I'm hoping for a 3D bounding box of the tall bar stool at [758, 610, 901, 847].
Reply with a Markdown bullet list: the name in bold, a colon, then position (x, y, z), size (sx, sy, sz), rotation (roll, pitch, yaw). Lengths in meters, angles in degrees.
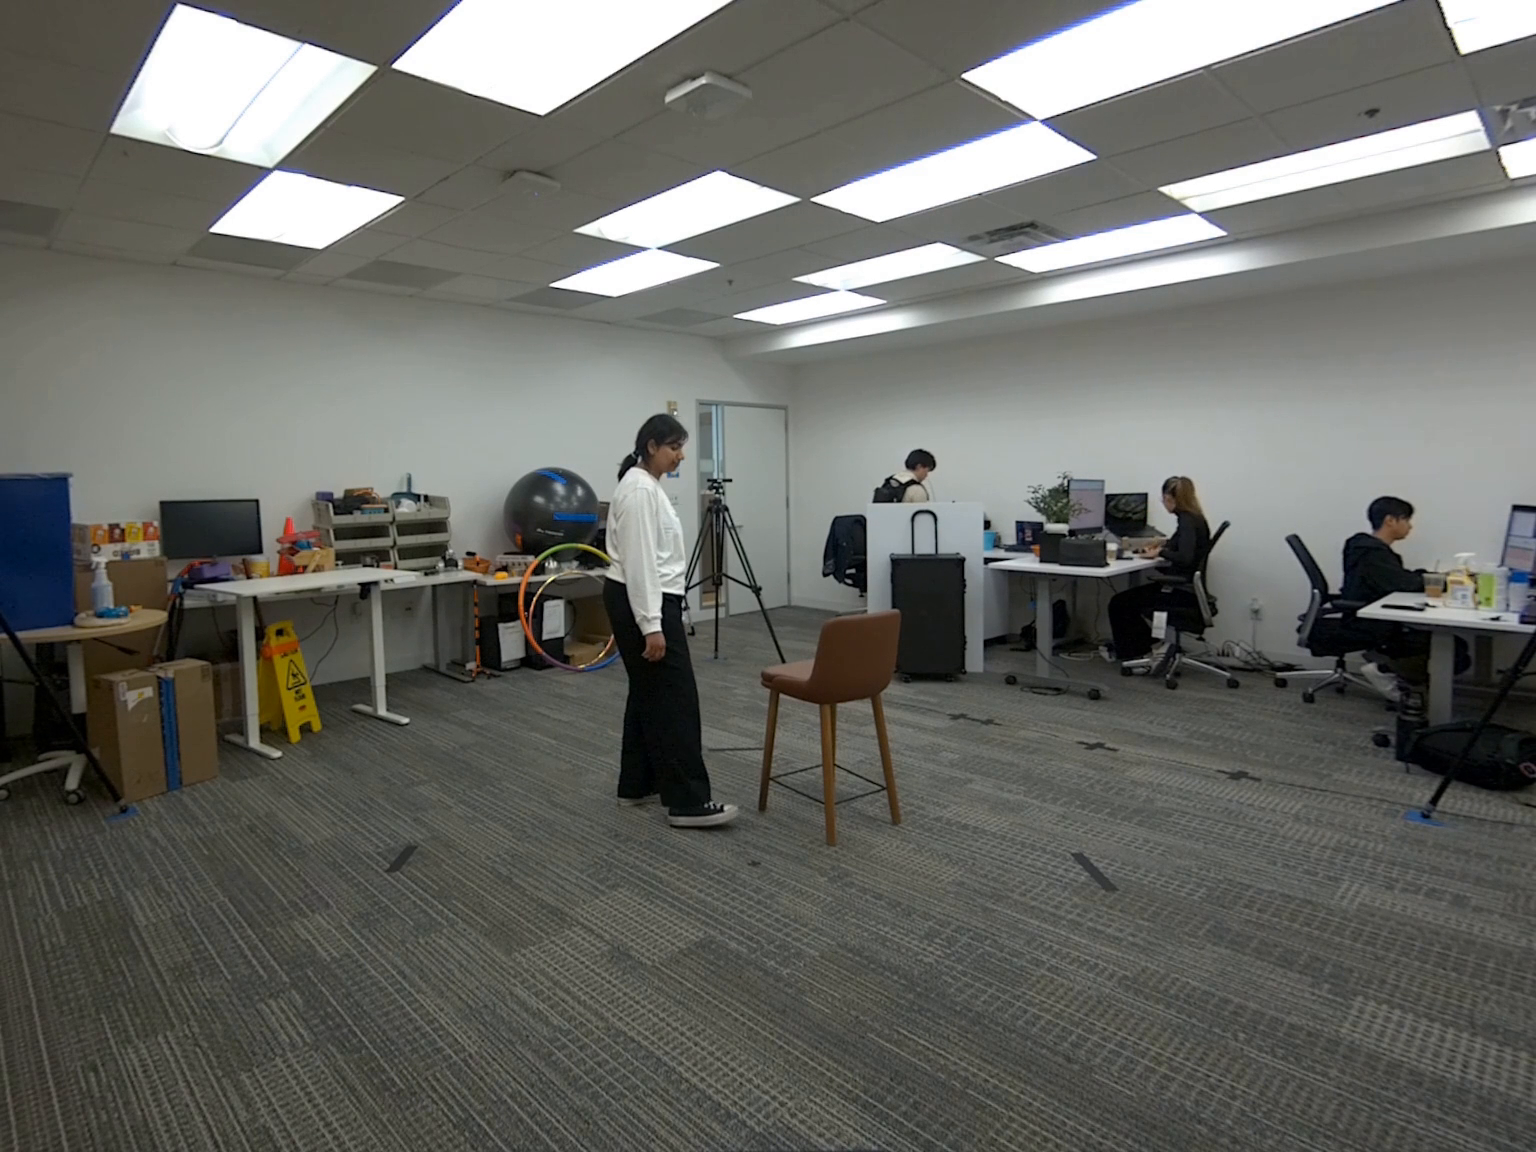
- **tall bar stool**: position (0.247, 0.560, 3.499), size (0.445, 0.885, 0.482), rotation (-4, 7, -36)
